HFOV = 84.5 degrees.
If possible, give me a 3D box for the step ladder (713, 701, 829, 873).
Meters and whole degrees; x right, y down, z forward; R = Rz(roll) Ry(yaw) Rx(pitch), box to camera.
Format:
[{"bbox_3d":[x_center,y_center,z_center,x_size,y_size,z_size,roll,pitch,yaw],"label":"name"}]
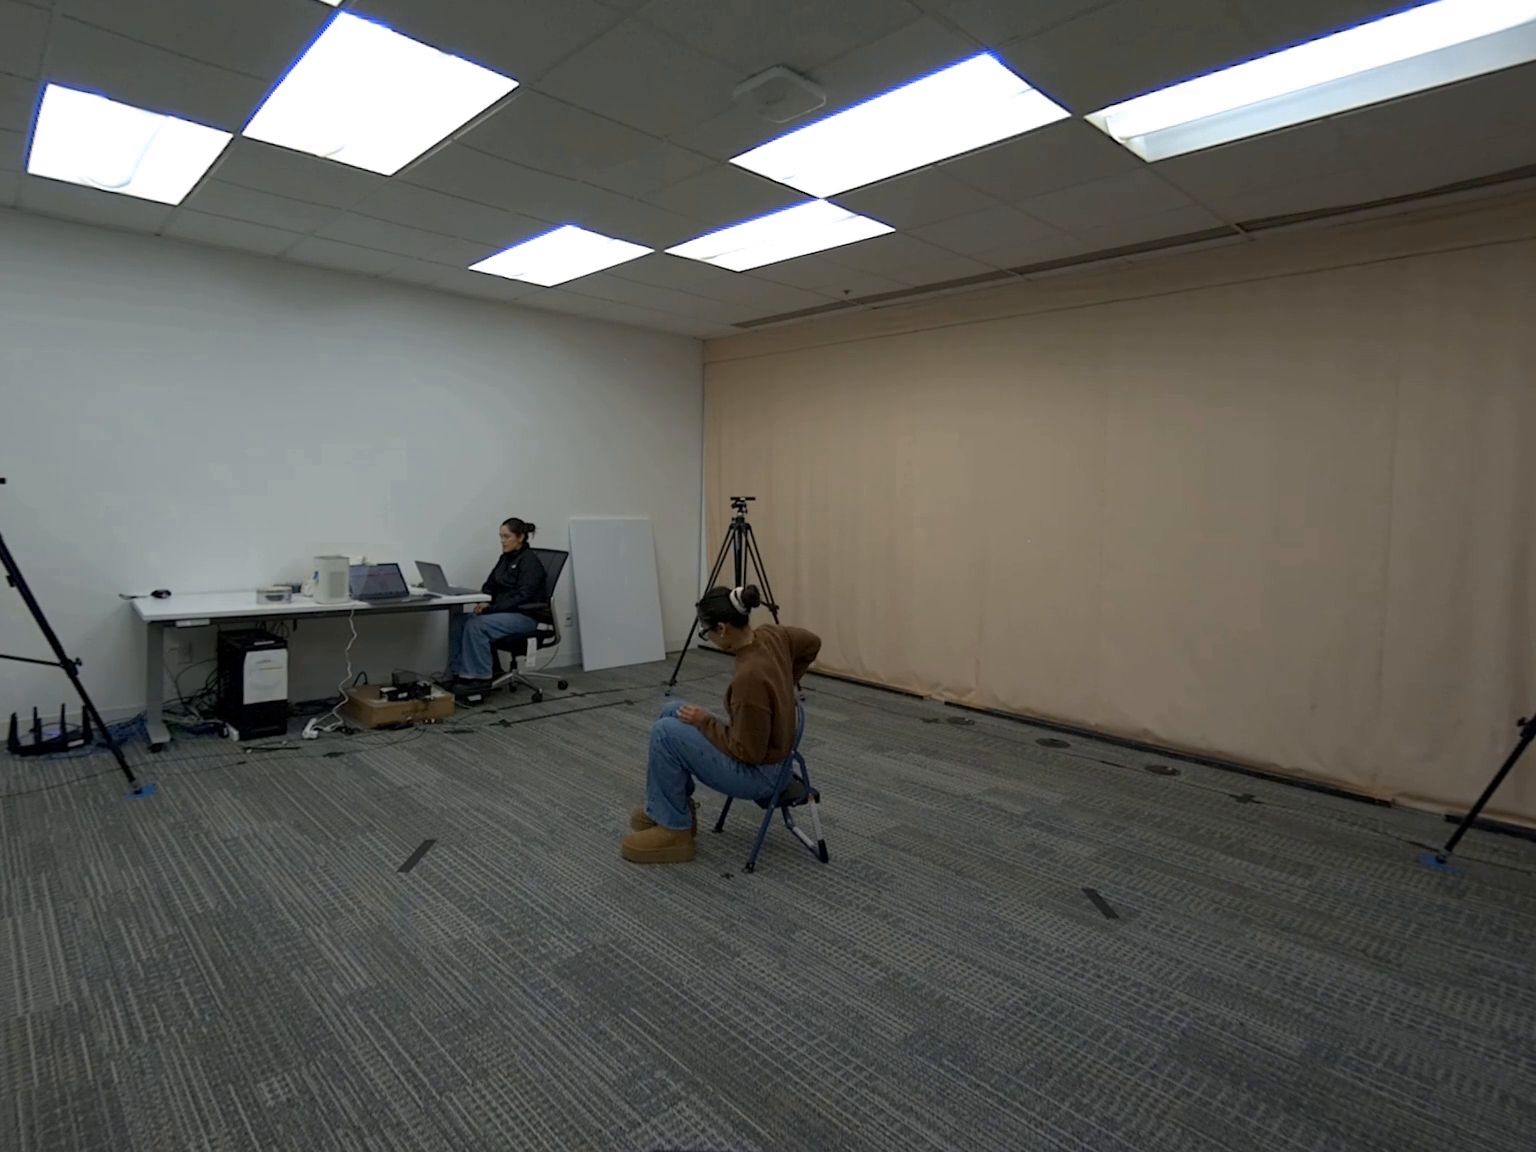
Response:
[{"bbox_3d":[0.007,0.788,3.366,0.344,0.604,0.438,0,4,-20],"label":"step ladder"}]
